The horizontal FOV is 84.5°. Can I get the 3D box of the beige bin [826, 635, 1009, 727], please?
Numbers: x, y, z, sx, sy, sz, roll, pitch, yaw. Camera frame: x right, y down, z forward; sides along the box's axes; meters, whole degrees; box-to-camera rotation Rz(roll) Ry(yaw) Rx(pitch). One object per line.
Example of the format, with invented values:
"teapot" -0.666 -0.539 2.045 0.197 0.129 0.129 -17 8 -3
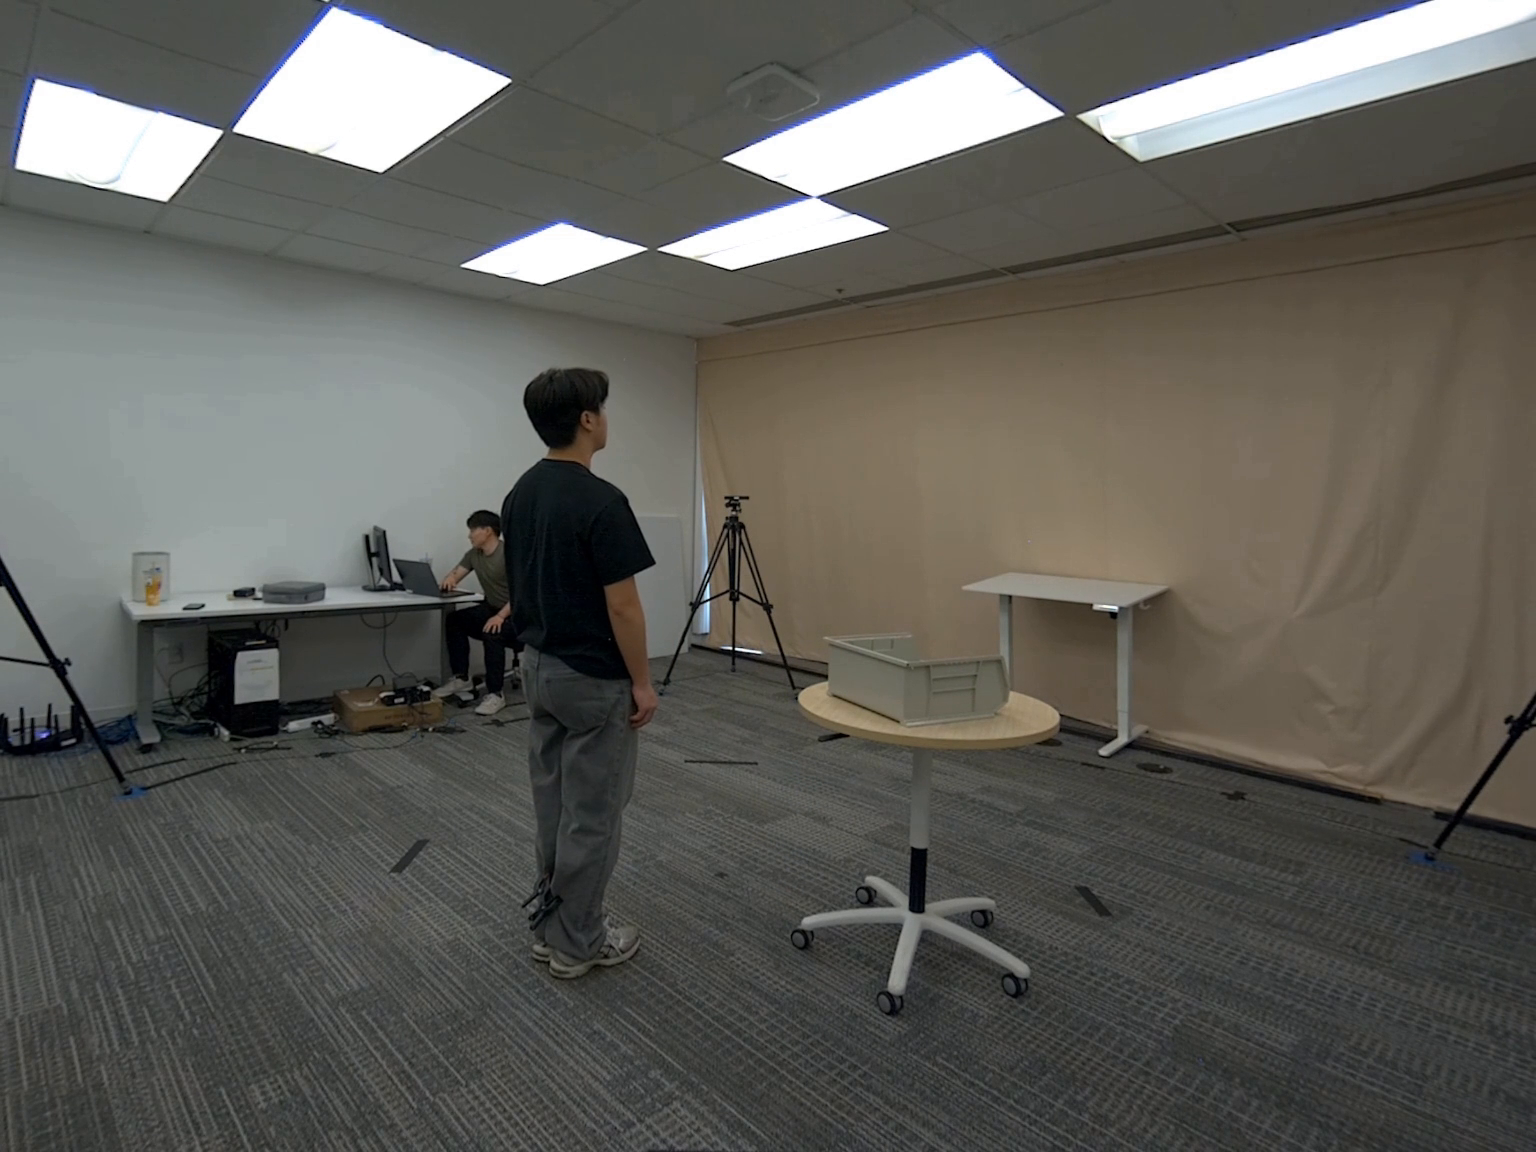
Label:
"beige bin" 0.431 0.301 2.523 0.370 0.188 0.431 -2 6 -27
